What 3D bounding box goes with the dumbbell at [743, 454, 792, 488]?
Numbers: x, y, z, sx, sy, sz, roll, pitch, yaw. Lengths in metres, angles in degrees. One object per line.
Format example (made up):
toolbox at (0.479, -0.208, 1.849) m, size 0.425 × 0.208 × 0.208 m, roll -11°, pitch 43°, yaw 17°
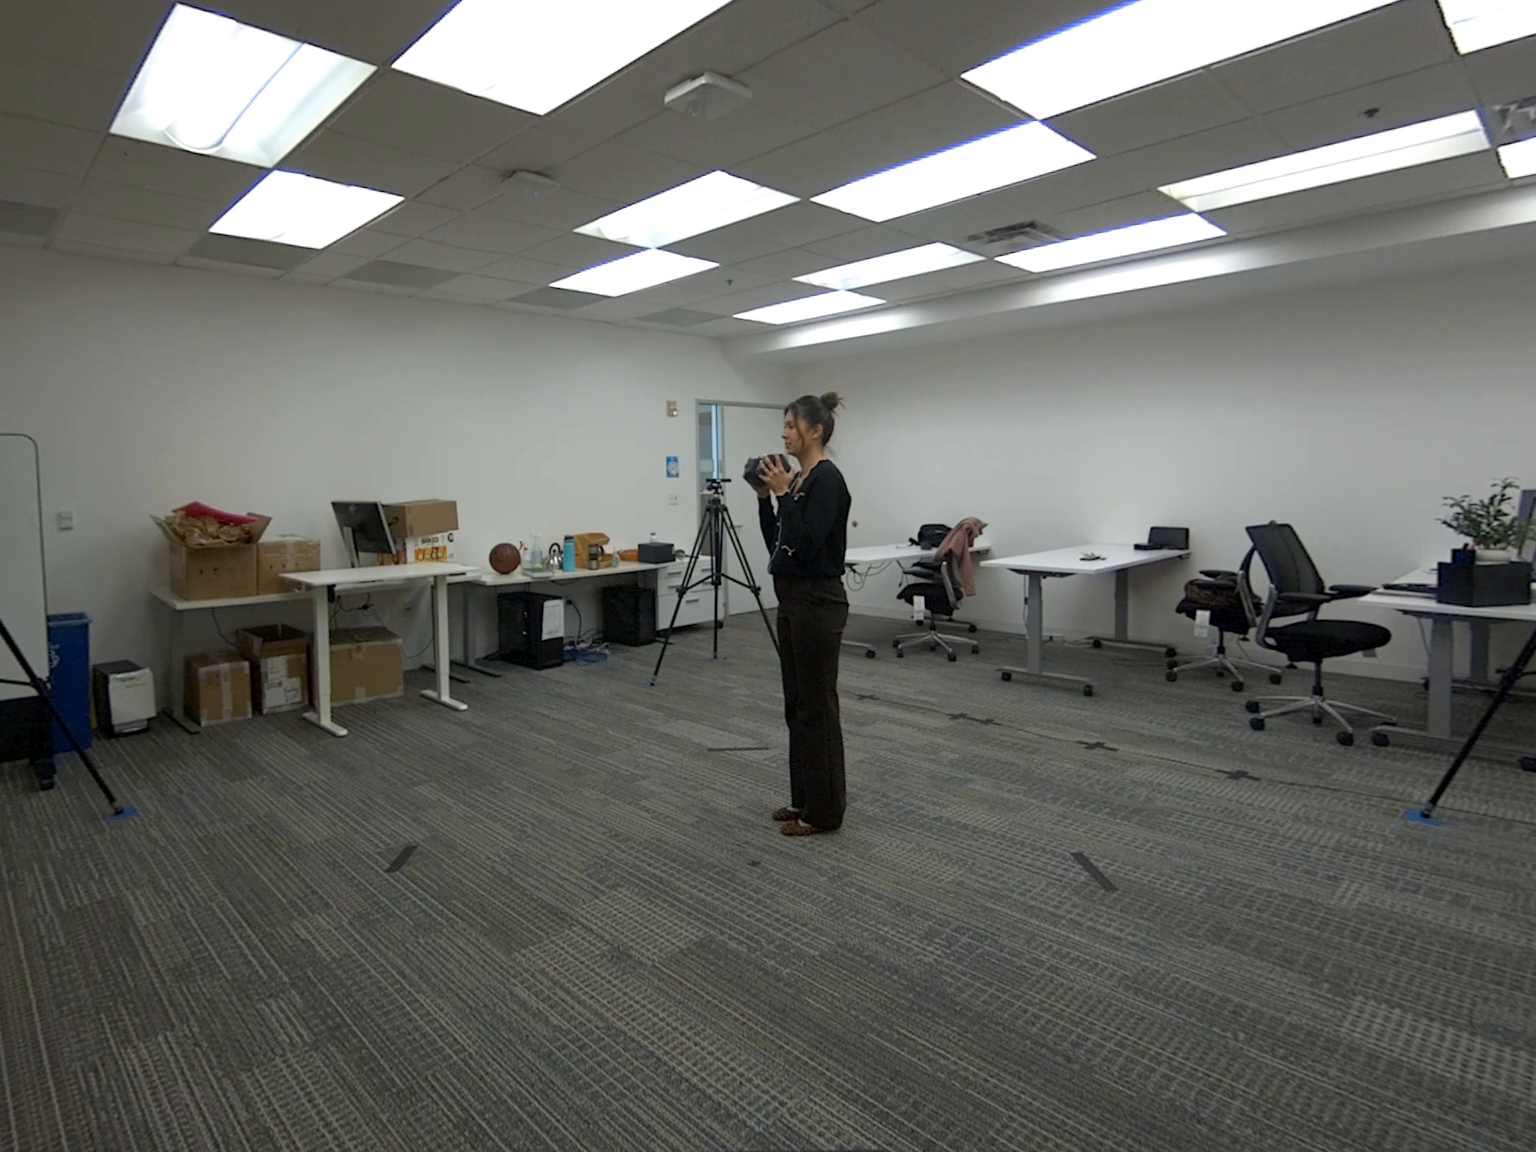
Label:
dumbbell at (0.014, -0.413, 3.373) m, size 0.109 × 0.121 × 0.298 m, roll -47°, pitch 14°, yaw -9°
